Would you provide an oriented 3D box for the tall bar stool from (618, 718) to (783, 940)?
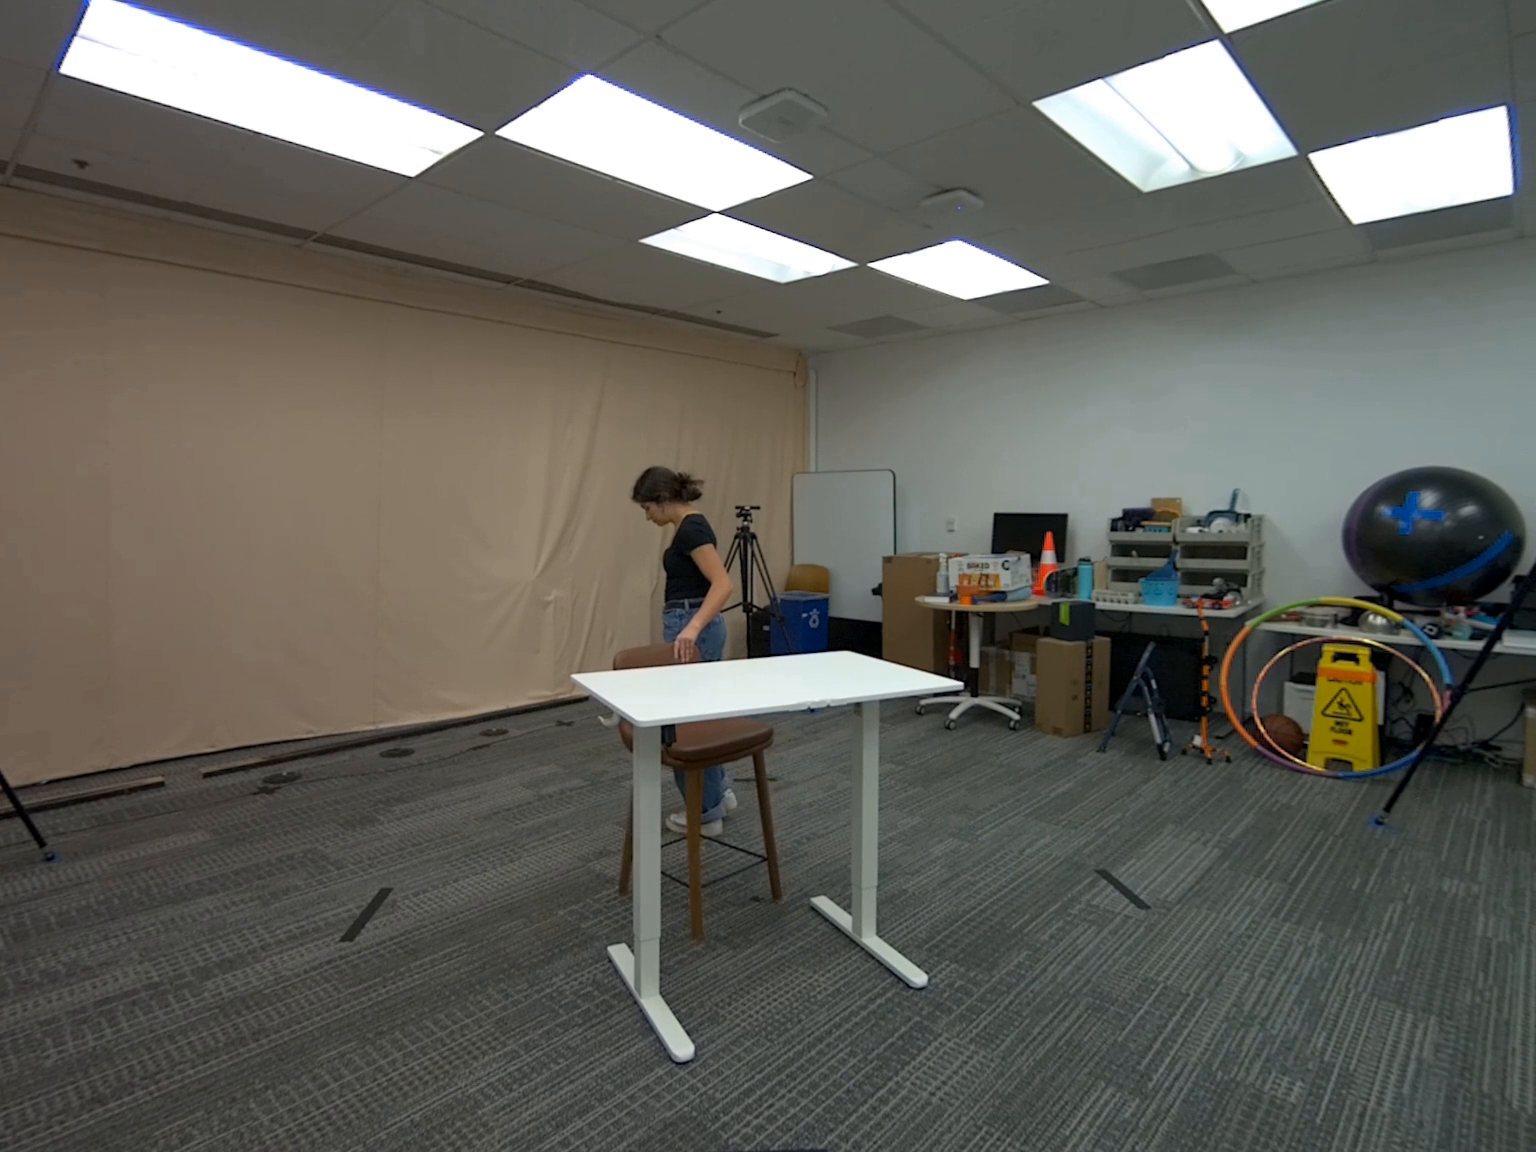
[{"bbox_3d":[-0.258,0.705,2.983,0.442,0.888,0.483,-4,3,-44],"label":"tall bar stool"}]
